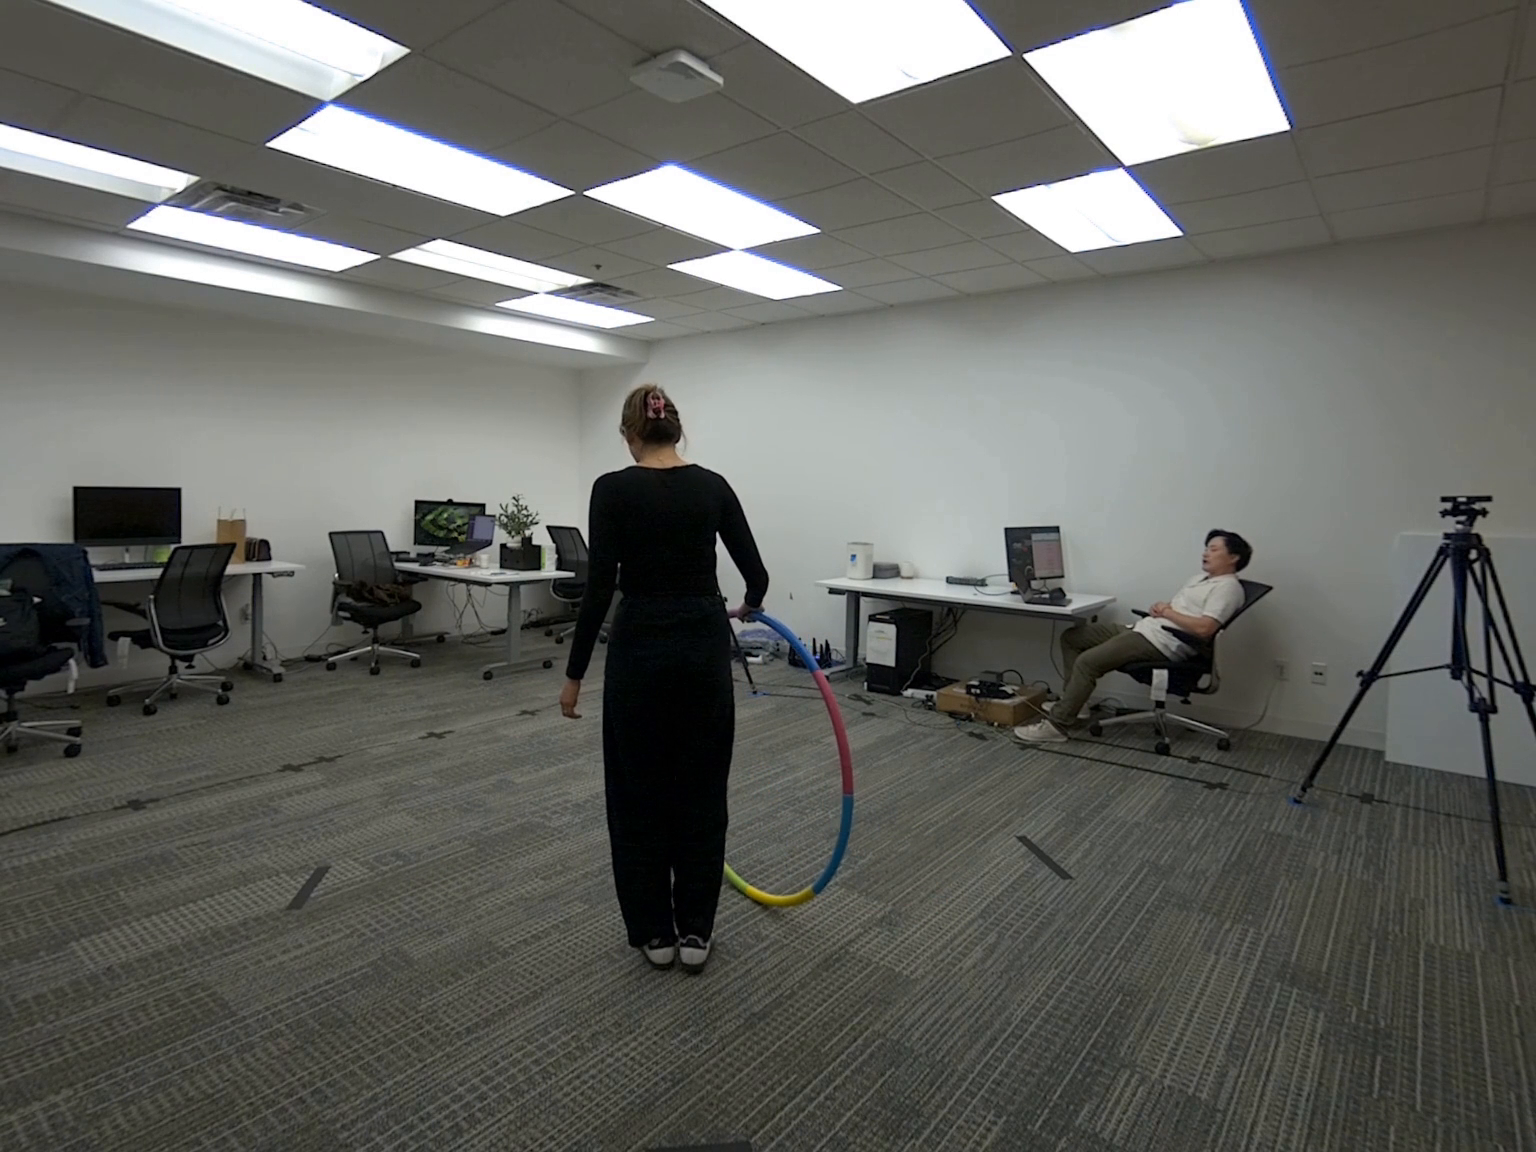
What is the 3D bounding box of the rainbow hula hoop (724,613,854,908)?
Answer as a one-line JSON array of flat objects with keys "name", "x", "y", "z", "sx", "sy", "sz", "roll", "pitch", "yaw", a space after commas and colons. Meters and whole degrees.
[{"name": "rainbow hula hoop", "x": -0.069, "y": 0.595, "z": 2.881, "sx": 0.034, "sy": 0.976, "sz": 1.011, "roll": -1, "pitch": 5, "yaw": -37}]
